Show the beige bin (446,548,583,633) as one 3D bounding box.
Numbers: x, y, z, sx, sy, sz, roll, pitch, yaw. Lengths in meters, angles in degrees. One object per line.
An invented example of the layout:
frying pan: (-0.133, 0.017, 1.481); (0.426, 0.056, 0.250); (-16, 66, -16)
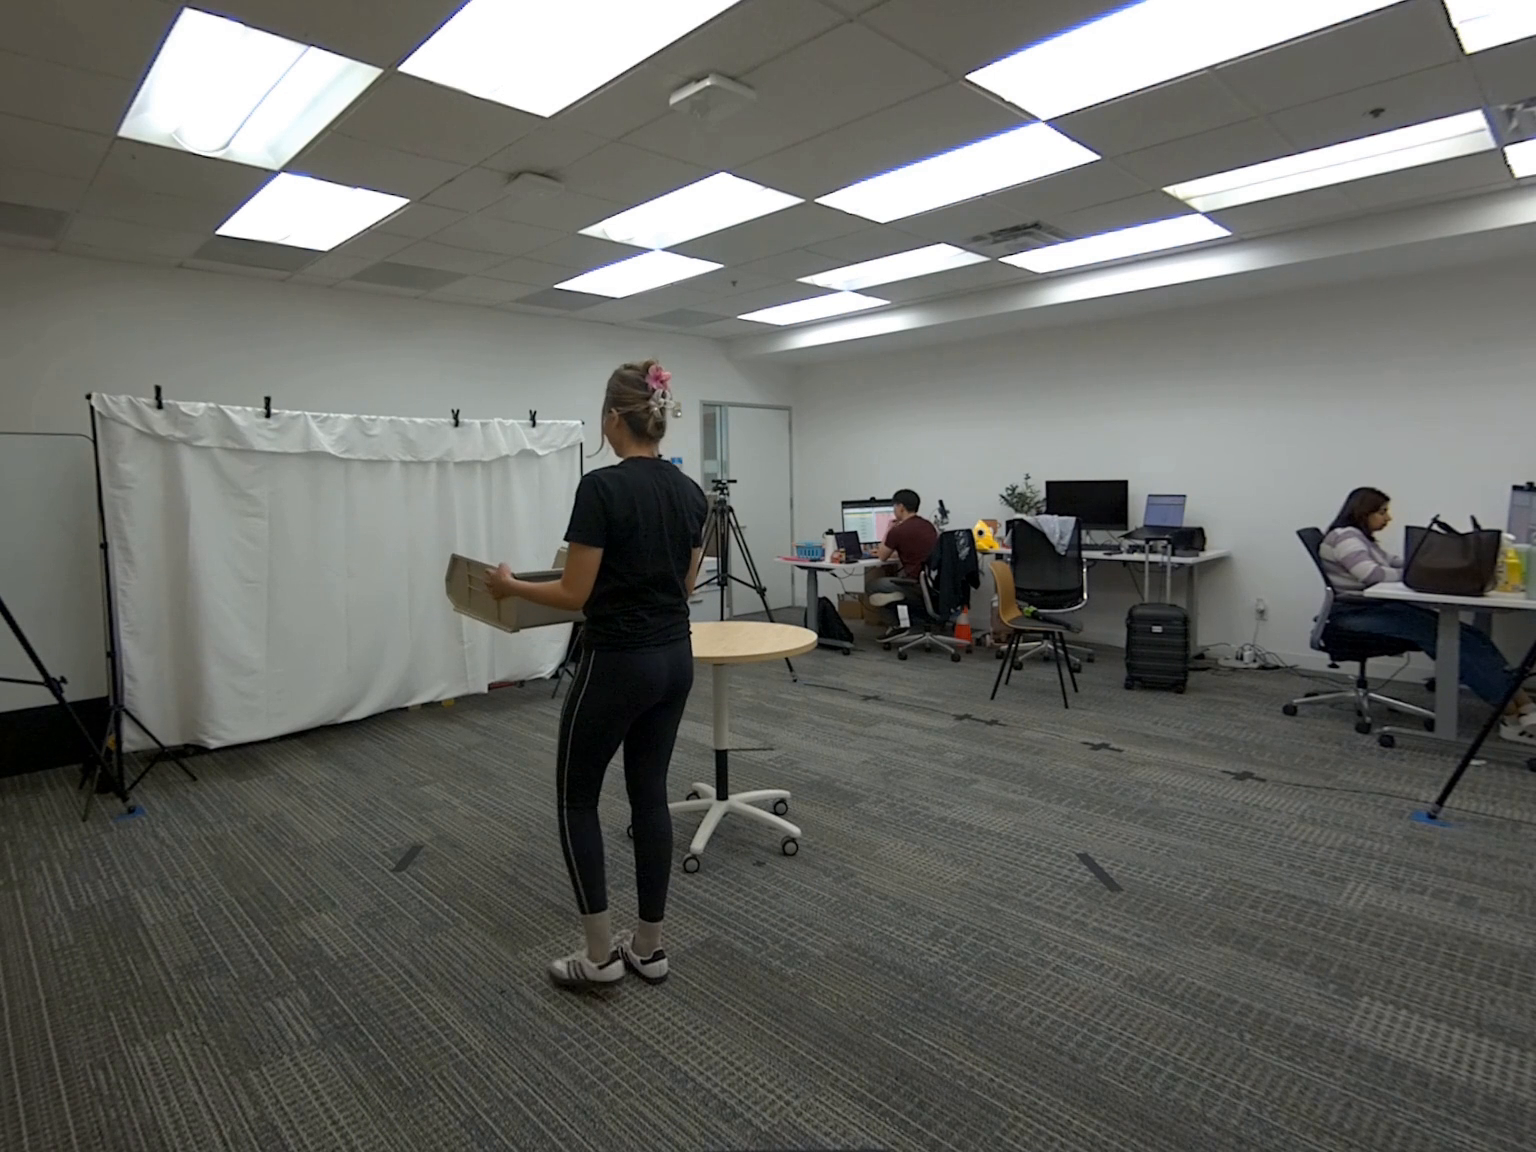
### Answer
beige bin: (-0.738, 0.036, 2.700); (0.390, 0.187, 0.411); (16, 14, 39)
